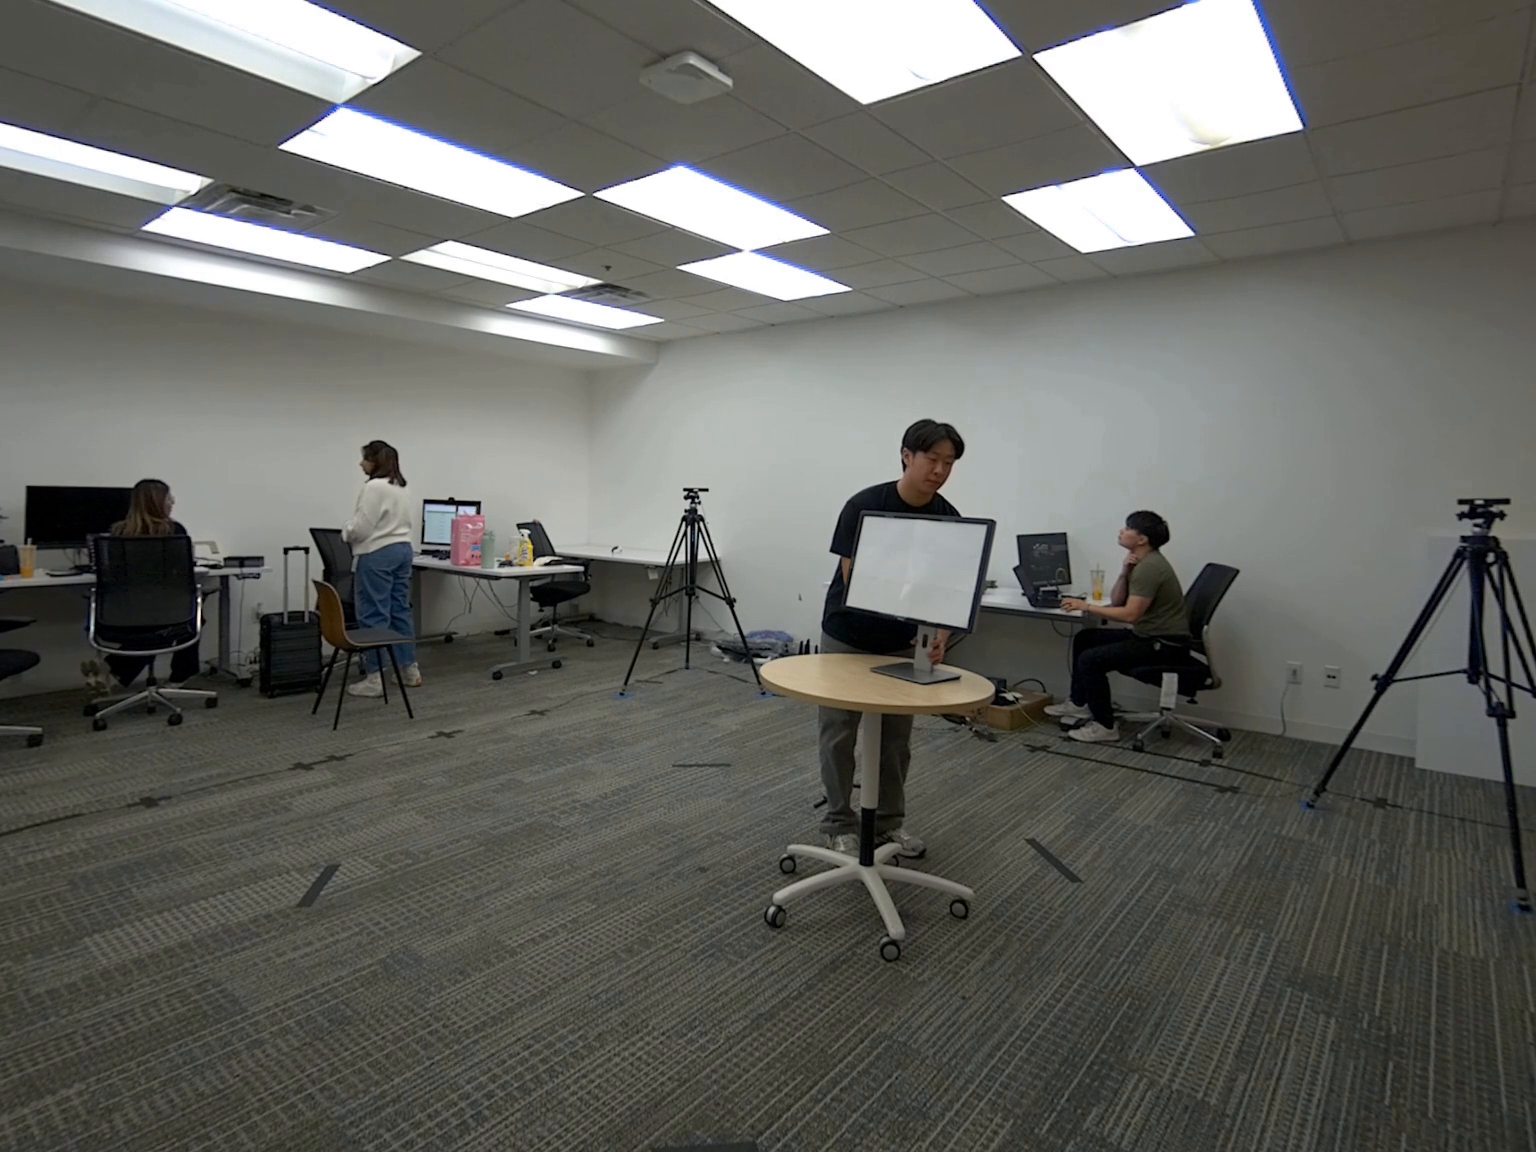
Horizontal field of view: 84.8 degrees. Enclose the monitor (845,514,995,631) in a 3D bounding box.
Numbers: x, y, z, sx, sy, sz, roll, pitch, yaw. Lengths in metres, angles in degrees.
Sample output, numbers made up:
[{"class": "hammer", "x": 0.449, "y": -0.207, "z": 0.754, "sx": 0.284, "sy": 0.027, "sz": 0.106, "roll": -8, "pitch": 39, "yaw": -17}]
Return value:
[{"class": "monitor", "x": 0.504, "y": 0.072, "z": 2.864, "sx": 0.216, "sy": 0.563, "sz": 0.580, "roll": -3, "pitch": 6, "yaw": -36}]
